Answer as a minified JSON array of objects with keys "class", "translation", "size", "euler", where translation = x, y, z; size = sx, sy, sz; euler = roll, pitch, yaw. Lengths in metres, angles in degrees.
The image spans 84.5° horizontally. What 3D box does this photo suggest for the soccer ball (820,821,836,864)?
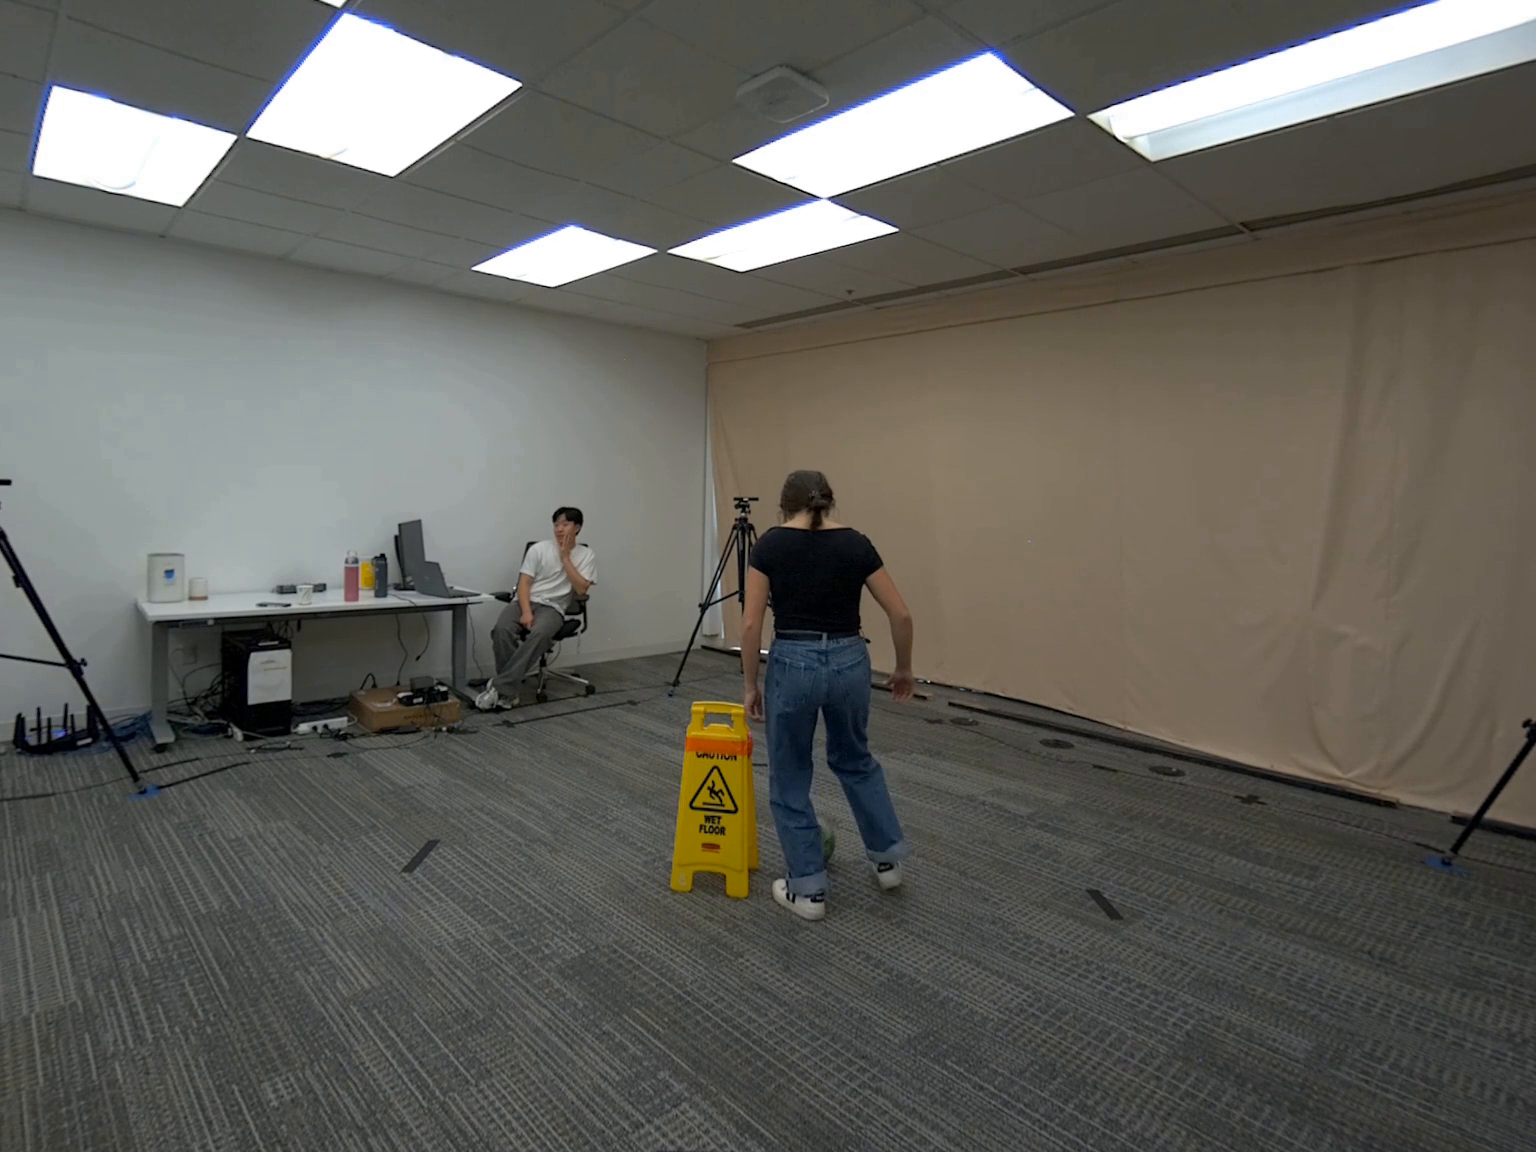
[{"class":"soccer ball","translation":[0.165,1.017,3.202],"size":[0.187,0.187,0.188],"euler":[1,4,-1]}]
